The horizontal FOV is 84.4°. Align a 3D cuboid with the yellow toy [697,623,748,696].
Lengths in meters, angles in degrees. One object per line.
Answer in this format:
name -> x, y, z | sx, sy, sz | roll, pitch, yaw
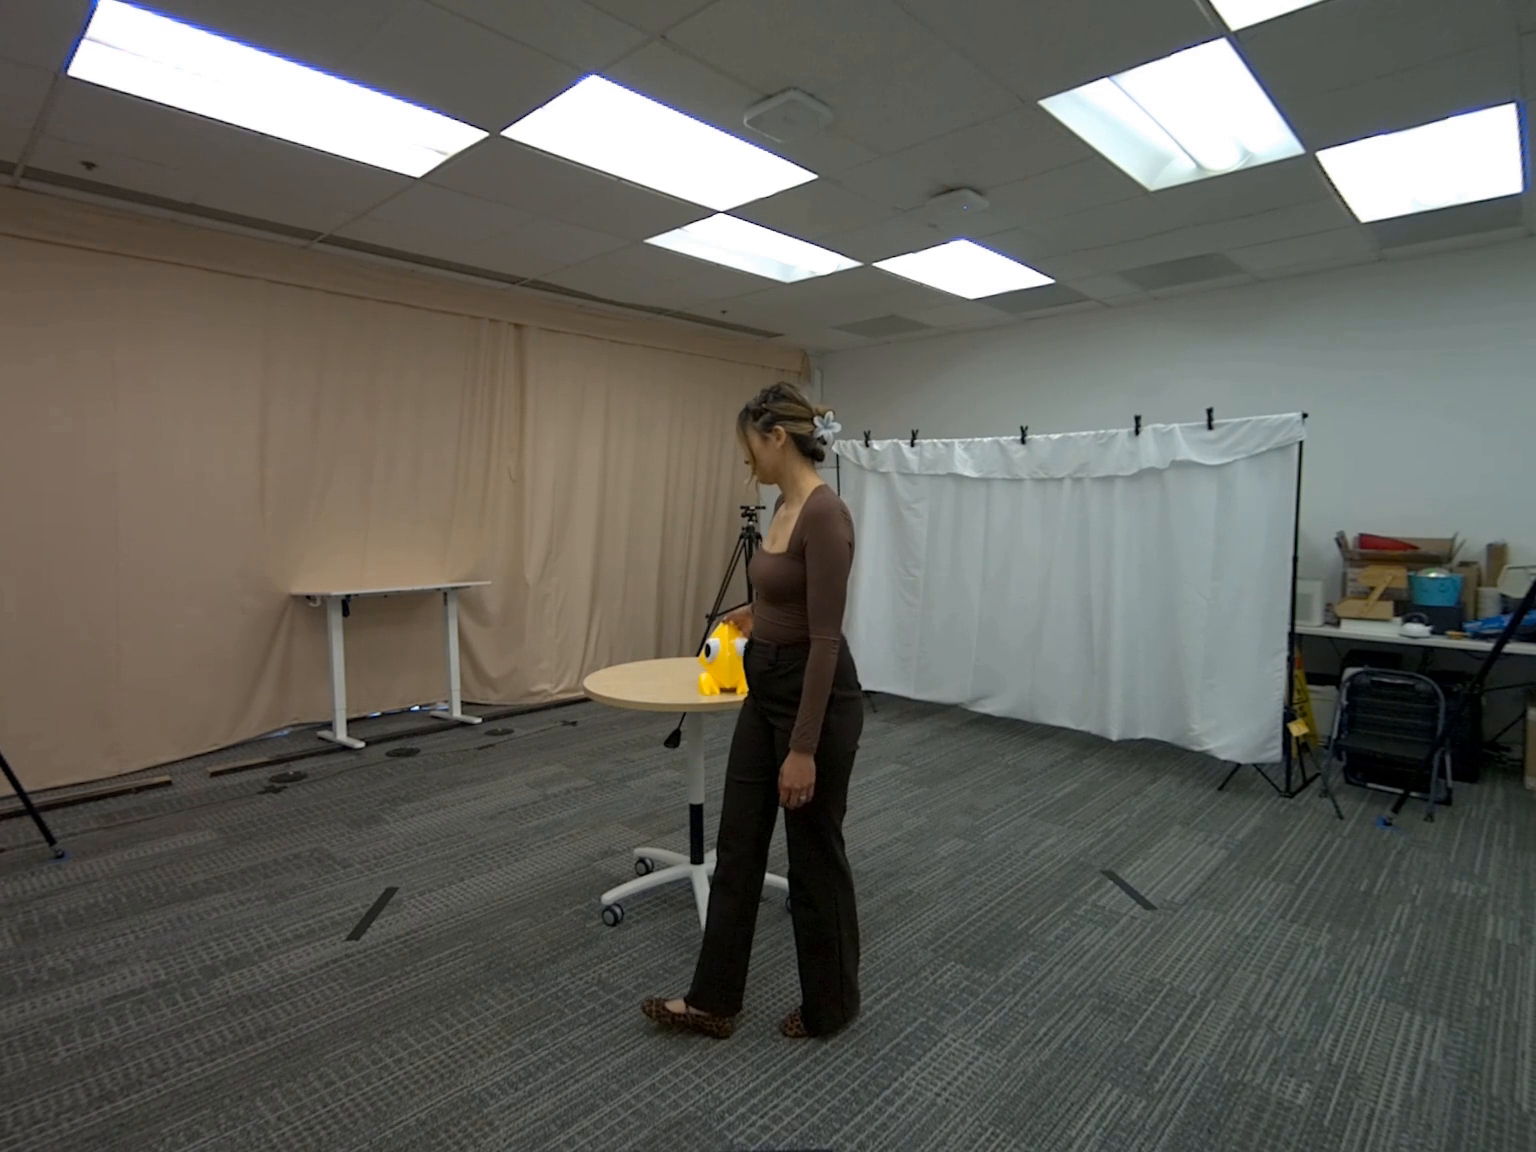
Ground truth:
yellow toy -> -0.129, 0.254, 2.731 | 0.205, 0.230, 0.193 | 0, 3, 0
